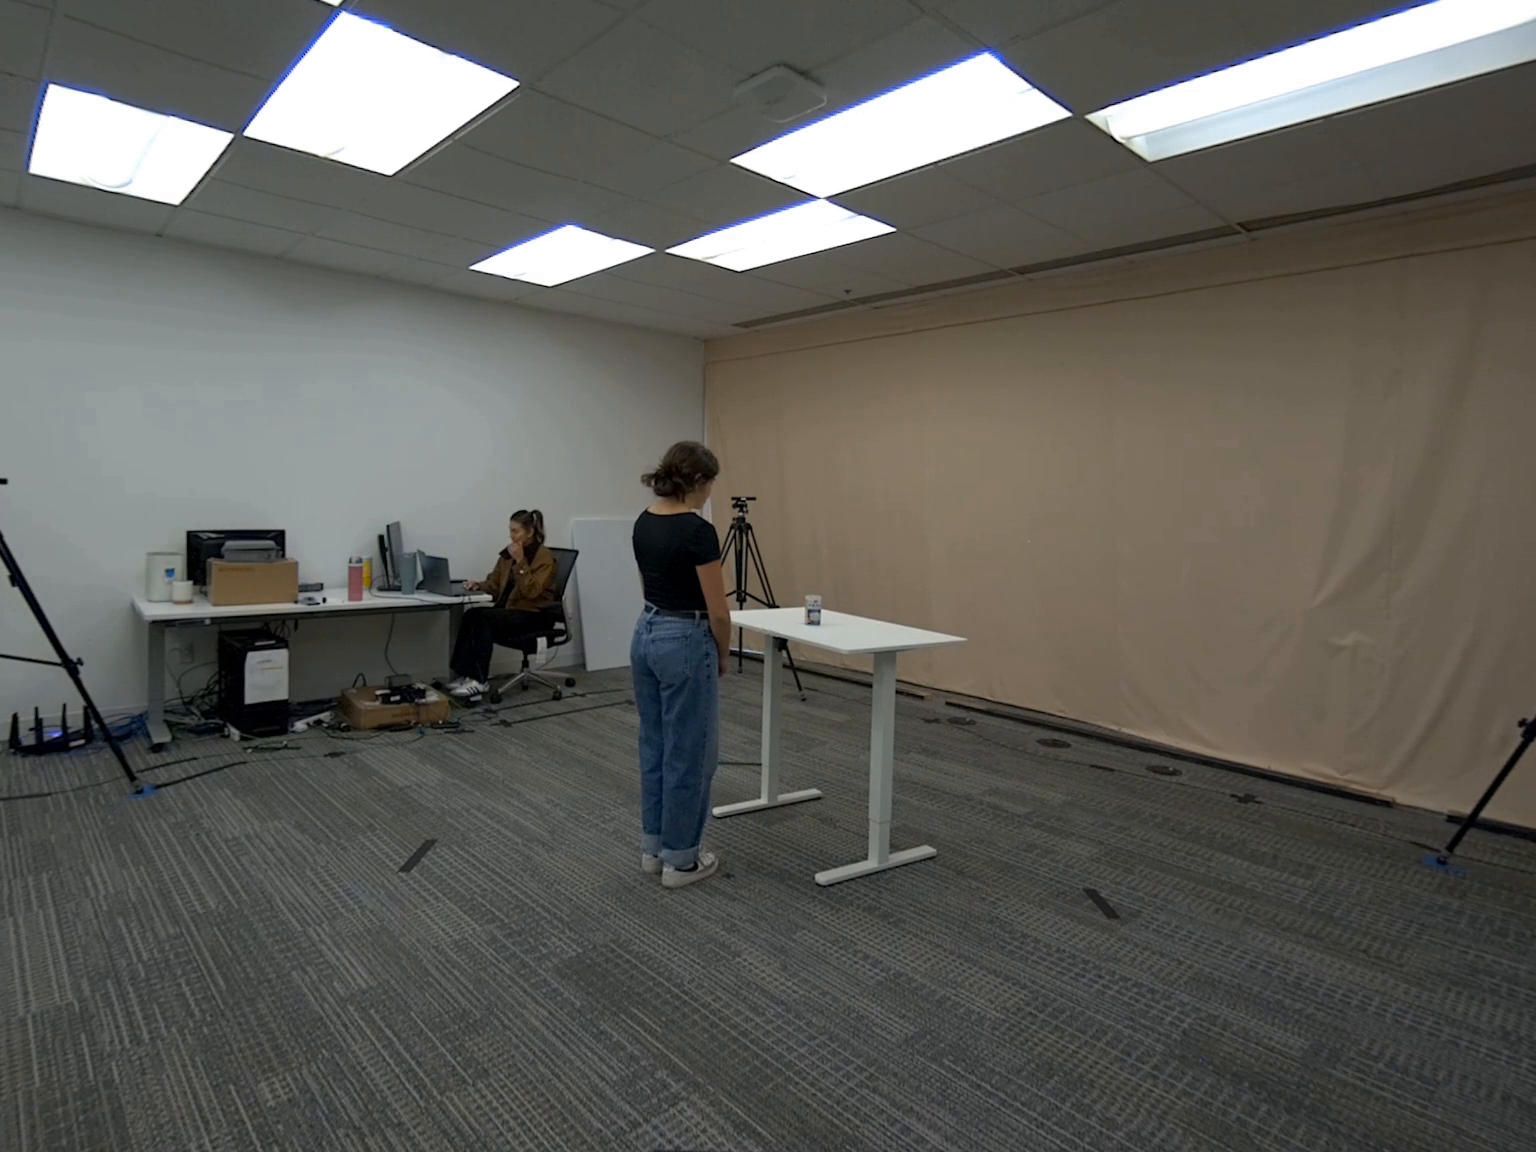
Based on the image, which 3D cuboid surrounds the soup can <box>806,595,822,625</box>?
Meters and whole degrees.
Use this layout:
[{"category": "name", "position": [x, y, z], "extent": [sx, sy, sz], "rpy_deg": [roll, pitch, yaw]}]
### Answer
[{"category": "soup can", "position": [0.183, 0.144, 3.473], "extent": [0.067, 0.121, 0.067], "rpy_deg": [0, 5, -1]}]
